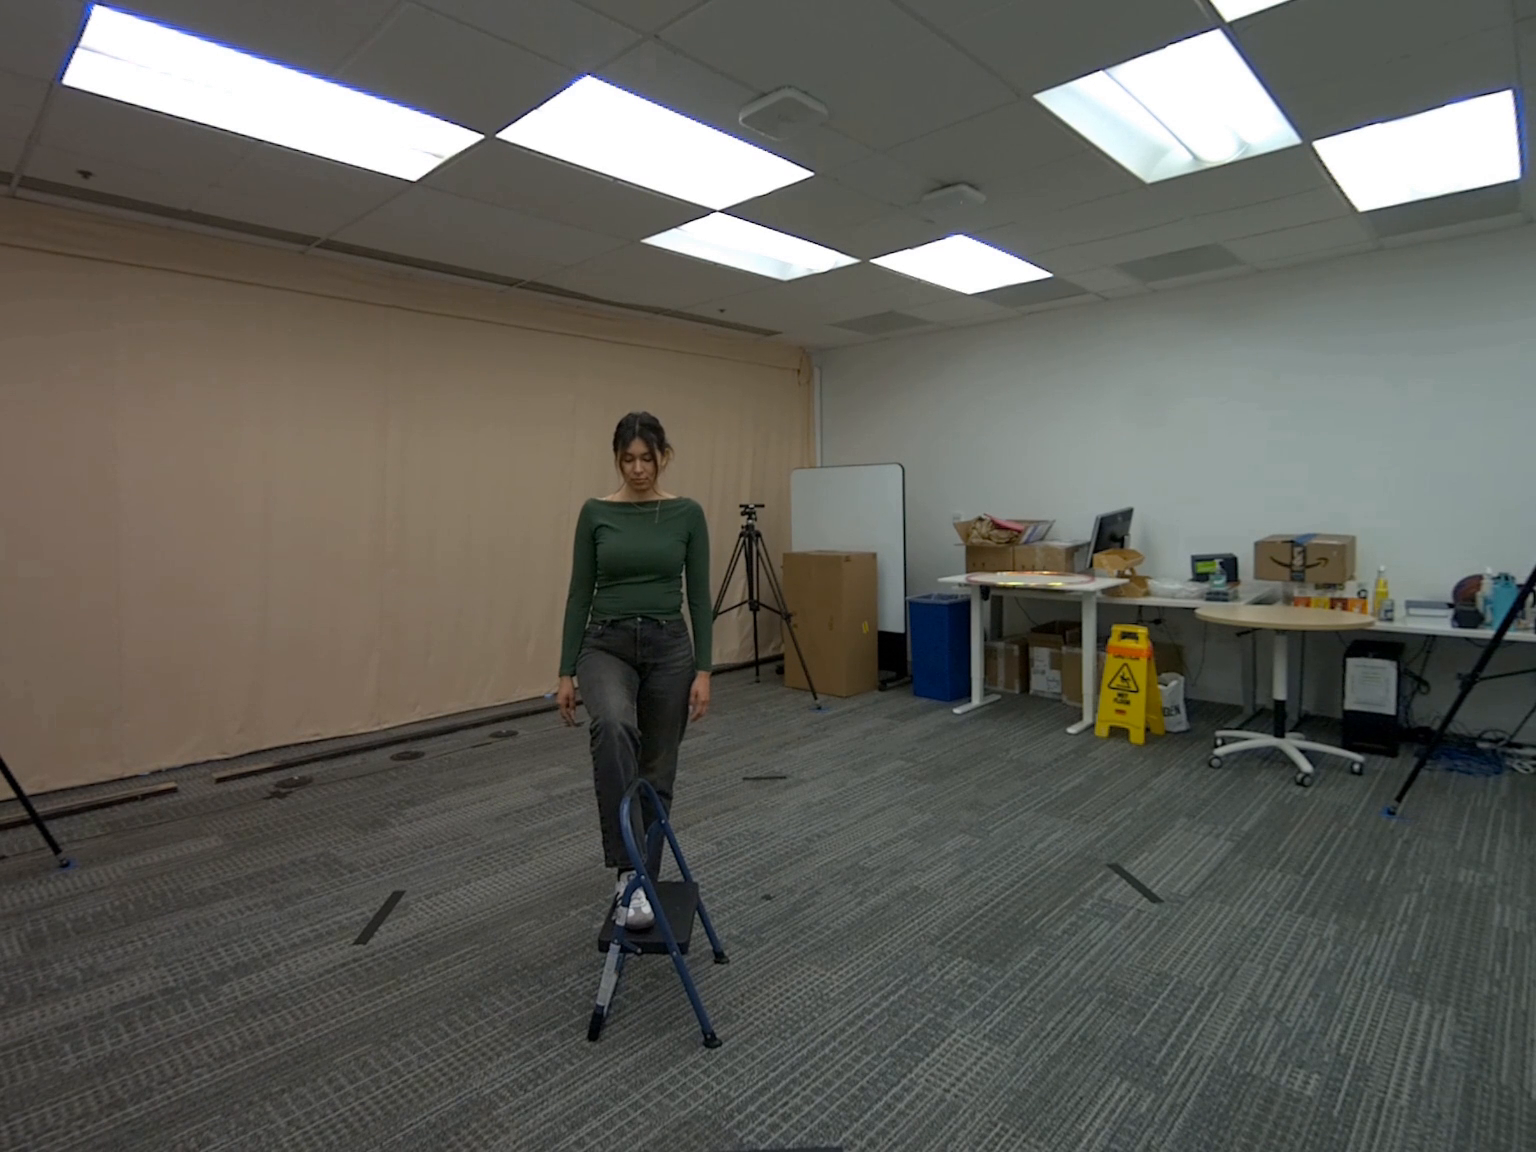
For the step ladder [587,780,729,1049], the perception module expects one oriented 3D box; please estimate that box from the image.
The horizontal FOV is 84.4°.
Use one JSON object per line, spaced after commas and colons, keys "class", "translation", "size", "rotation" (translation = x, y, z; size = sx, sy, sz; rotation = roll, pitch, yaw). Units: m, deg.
{"class": "step ladder", "translation": [-0.297, 0.903, 2.367], "size": [0.350, 0.604, 0.431], "rotation": [0, 4, 1]}
